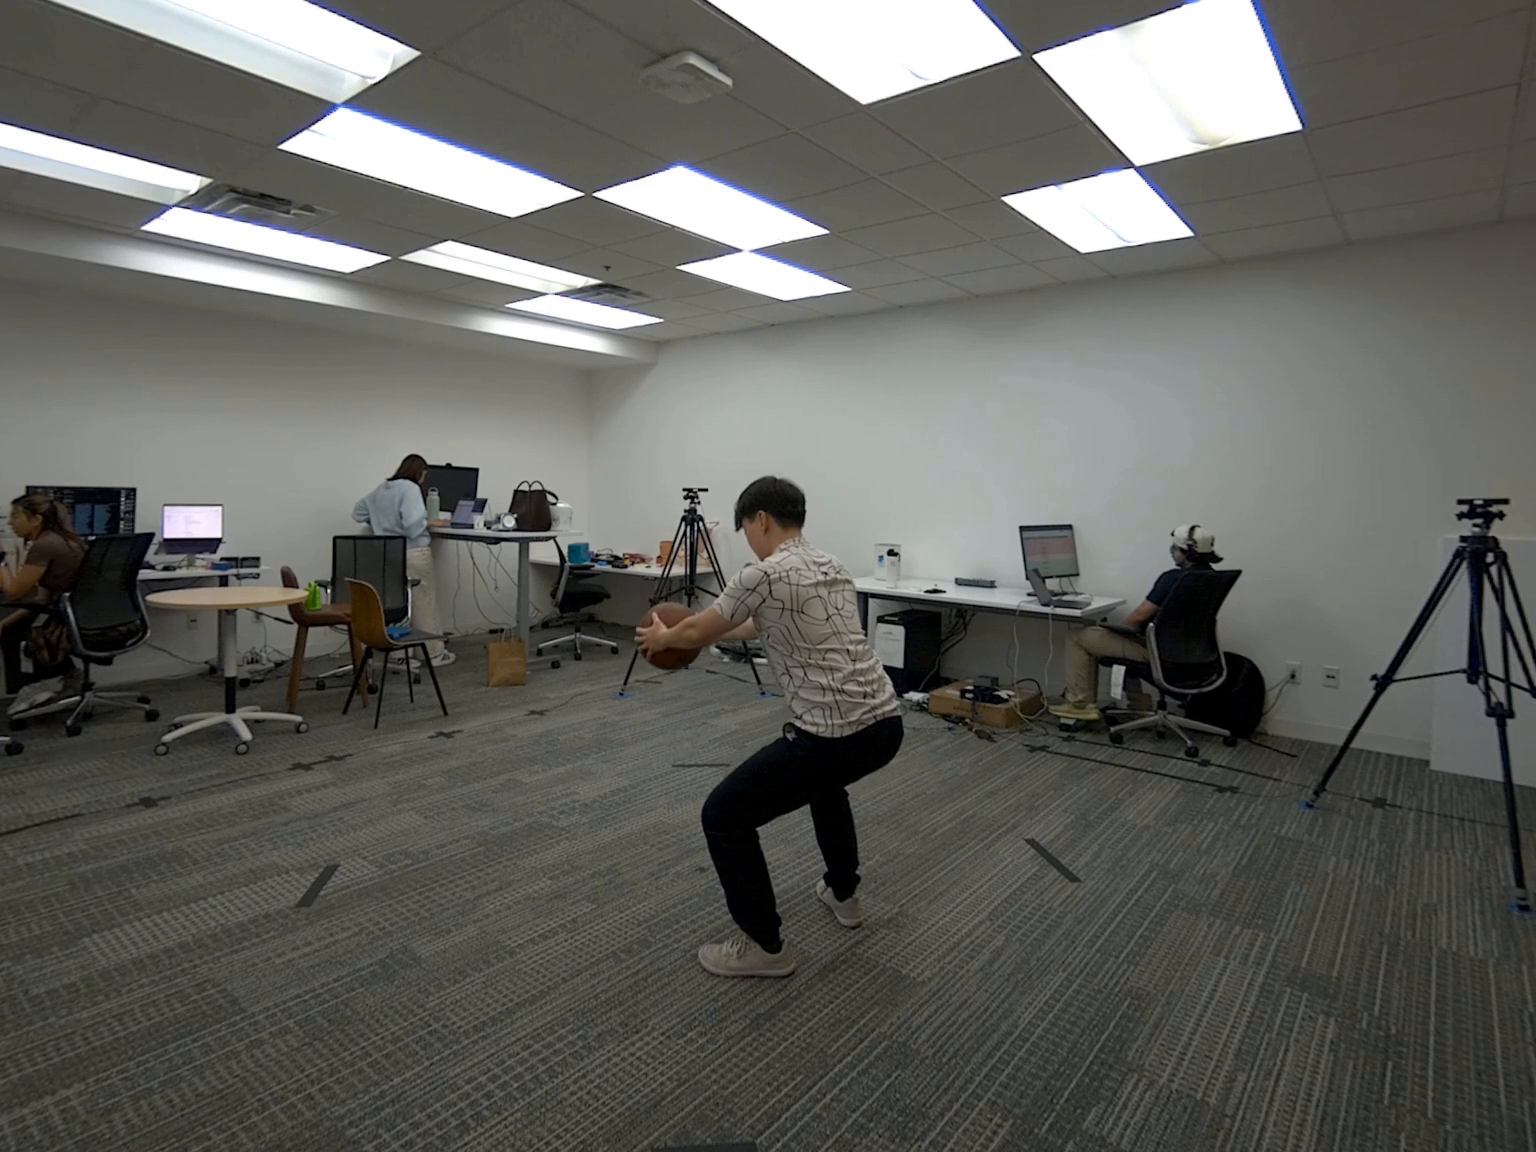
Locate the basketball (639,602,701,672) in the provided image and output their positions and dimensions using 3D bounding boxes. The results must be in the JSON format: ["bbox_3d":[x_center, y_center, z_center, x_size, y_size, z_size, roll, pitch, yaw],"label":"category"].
[{"bbox_3d":[-0.349,0.202,2.995,0.235,0.235,0.237,1,4,-2],"label":"basketball"}]
